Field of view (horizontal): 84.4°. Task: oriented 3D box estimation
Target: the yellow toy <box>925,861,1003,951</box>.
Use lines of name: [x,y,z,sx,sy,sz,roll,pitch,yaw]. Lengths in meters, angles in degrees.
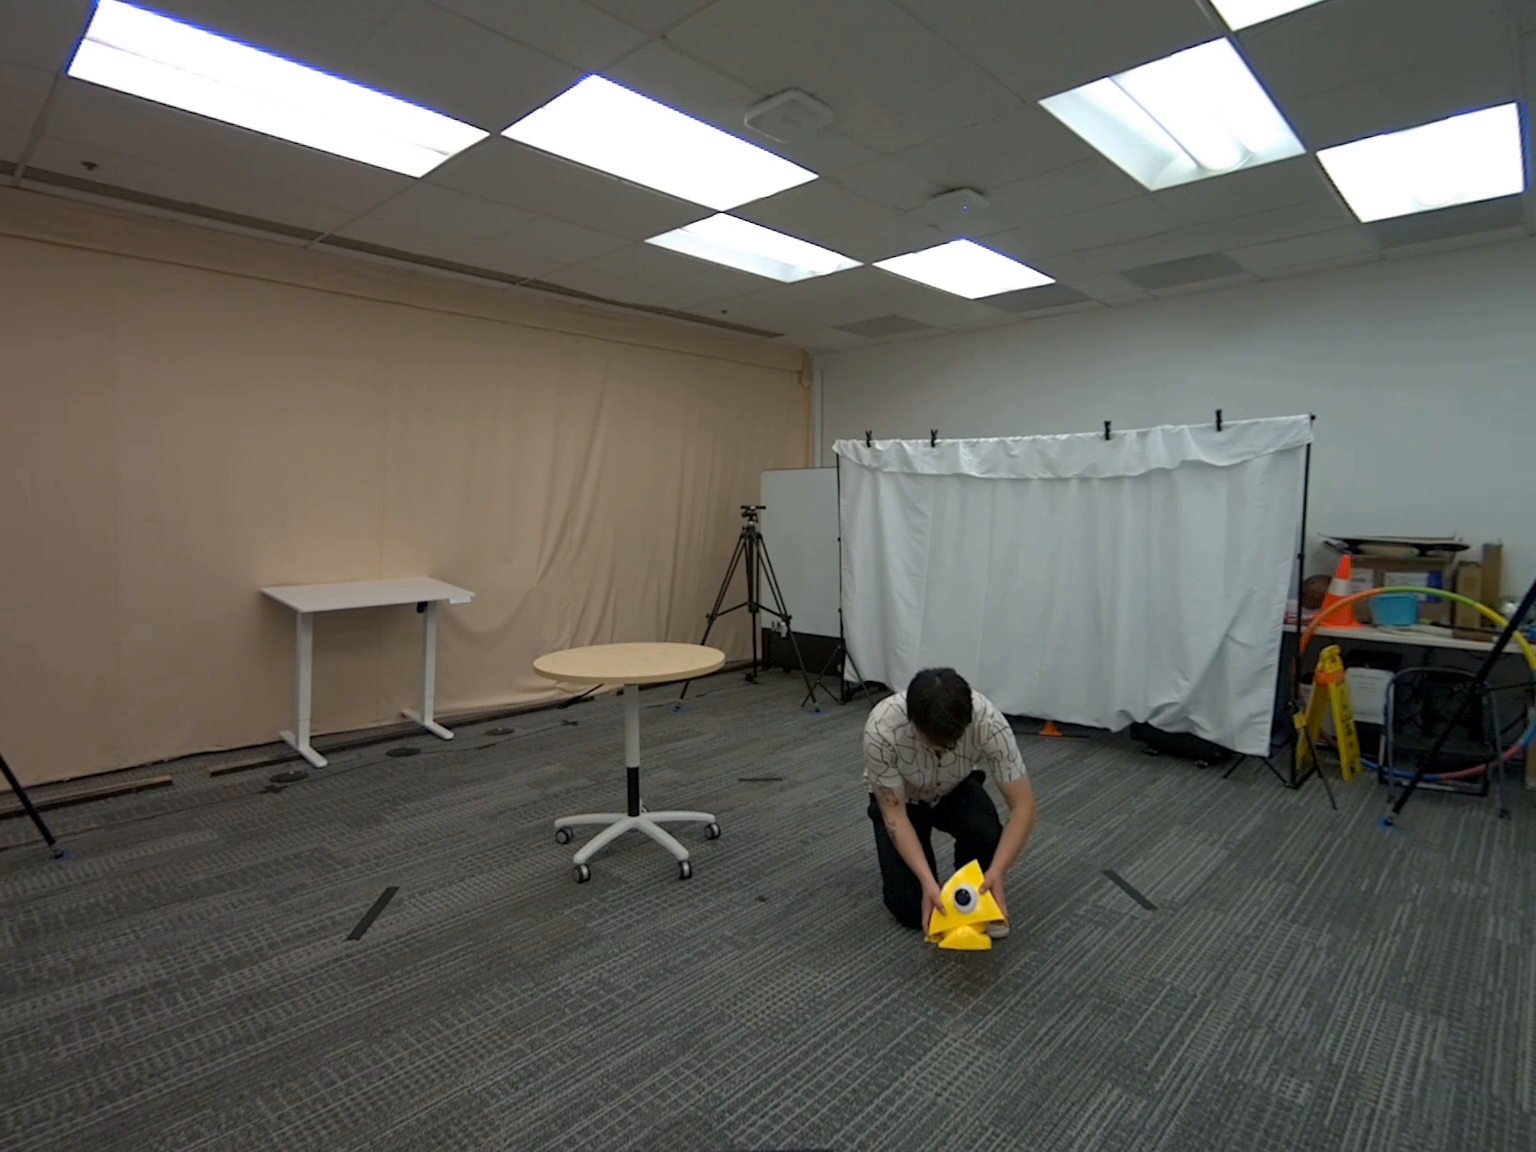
yellow toy: [0.566,0.957,2.475,0.192,0.233,0.204,1,-17,-6]
